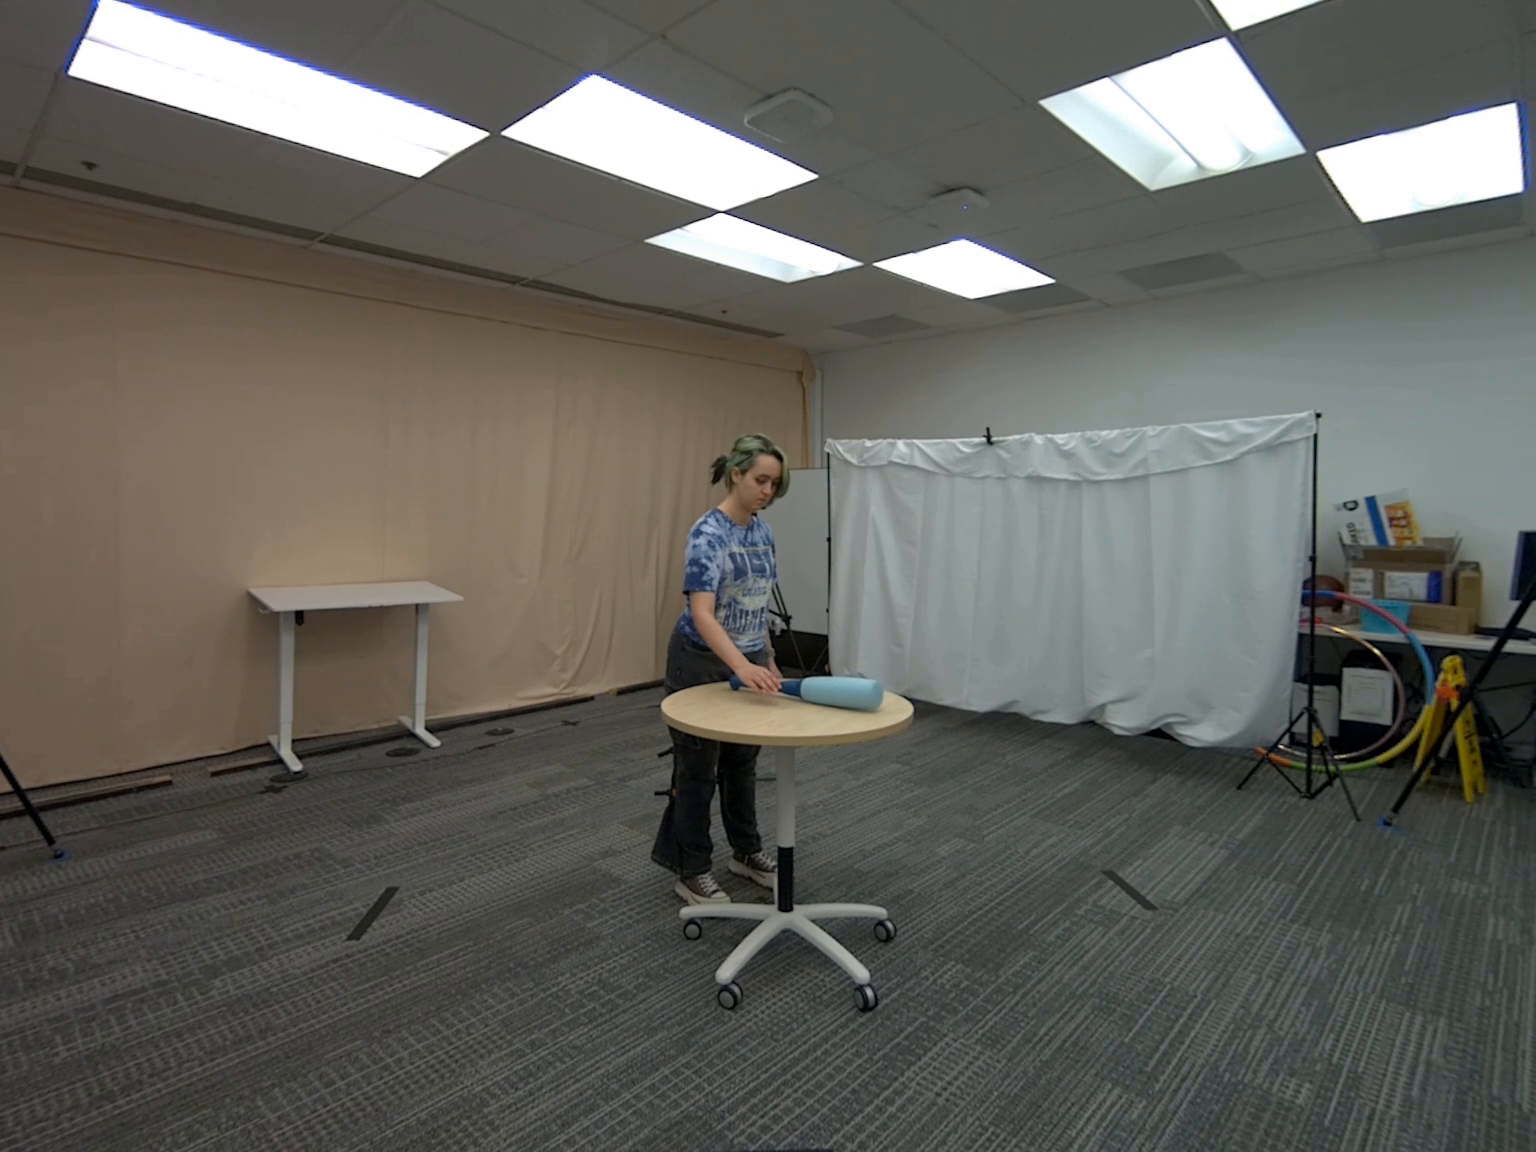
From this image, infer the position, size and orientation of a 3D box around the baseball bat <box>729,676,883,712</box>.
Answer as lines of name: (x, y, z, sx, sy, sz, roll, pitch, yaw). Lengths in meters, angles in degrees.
baseball bat: (0.102, 0.355, 2.623, 0.560, 0.089, 0.086, -1, 2, 38)
